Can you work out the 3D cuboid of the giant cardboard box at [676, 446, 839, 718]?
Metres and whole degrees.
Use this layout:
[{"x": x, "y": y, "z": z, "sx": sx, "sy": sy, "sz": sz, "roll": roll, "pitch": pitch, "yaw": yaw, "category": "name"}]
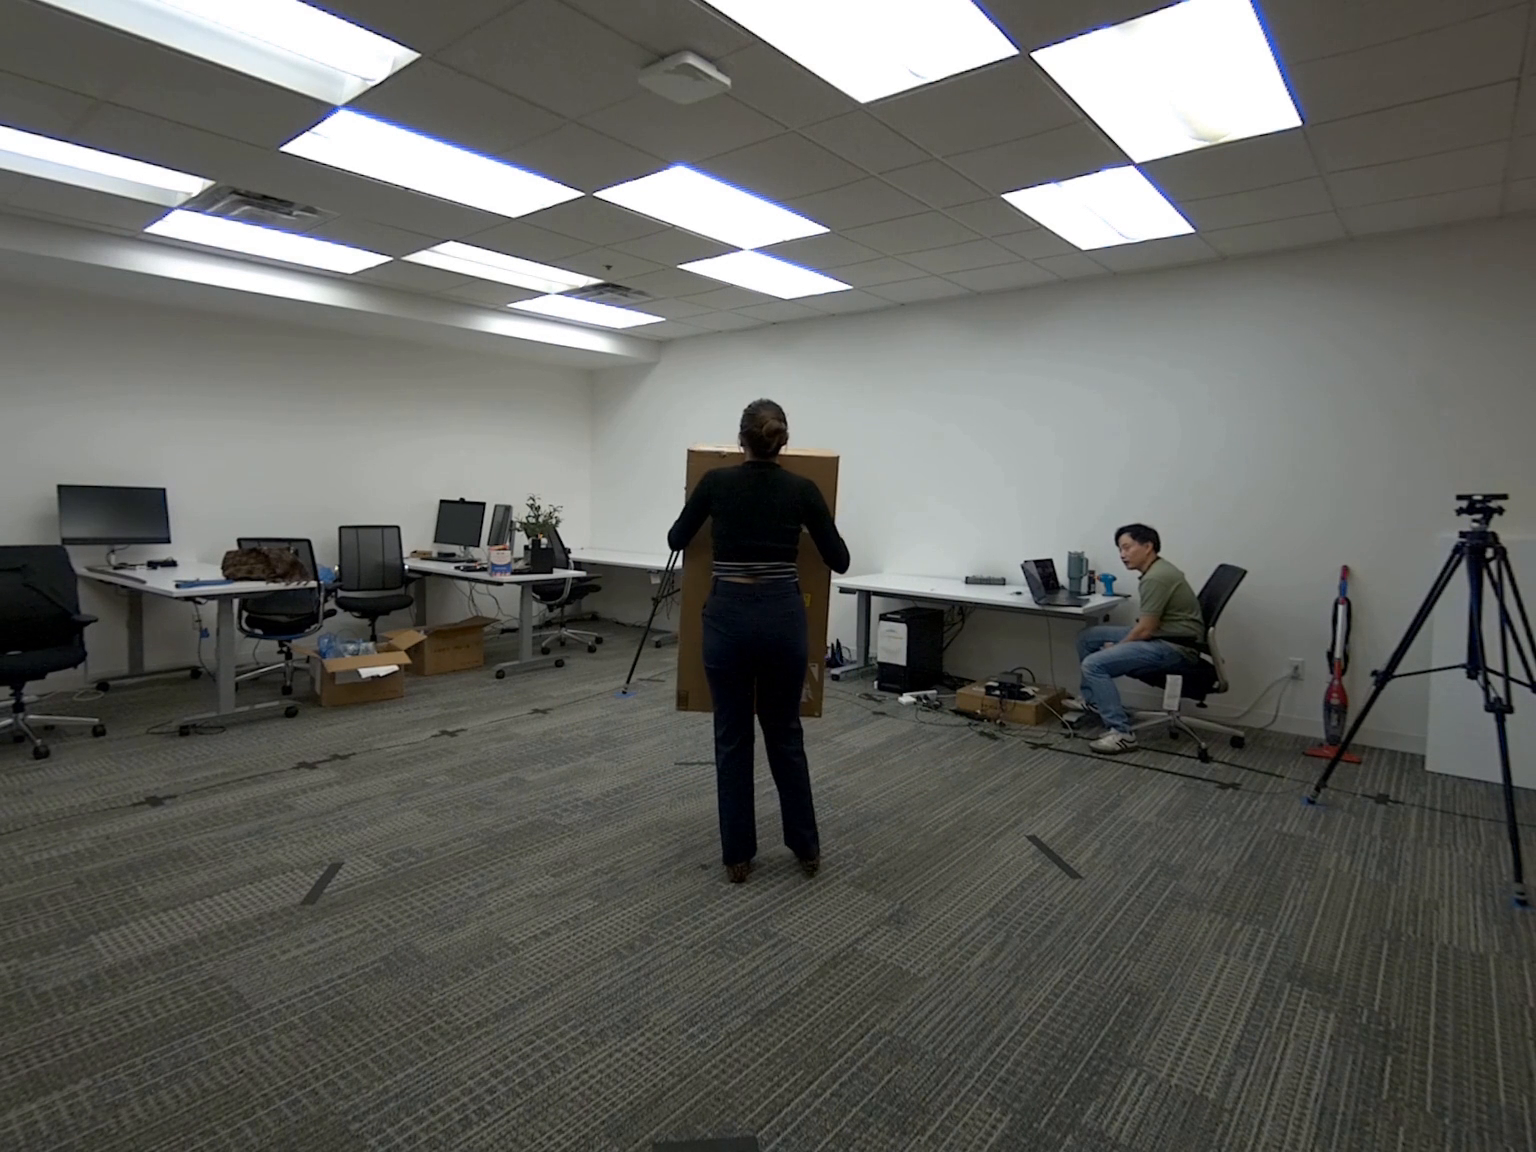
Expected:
[{"x": -0.063, "y": -0.004, "z": 3.447, "sx": 0.578, "sy": 1.018, "sz": 0.429, "roll": 3, "pitch": 9, "yaw": 0, "category": "giant cardboard box"}]
